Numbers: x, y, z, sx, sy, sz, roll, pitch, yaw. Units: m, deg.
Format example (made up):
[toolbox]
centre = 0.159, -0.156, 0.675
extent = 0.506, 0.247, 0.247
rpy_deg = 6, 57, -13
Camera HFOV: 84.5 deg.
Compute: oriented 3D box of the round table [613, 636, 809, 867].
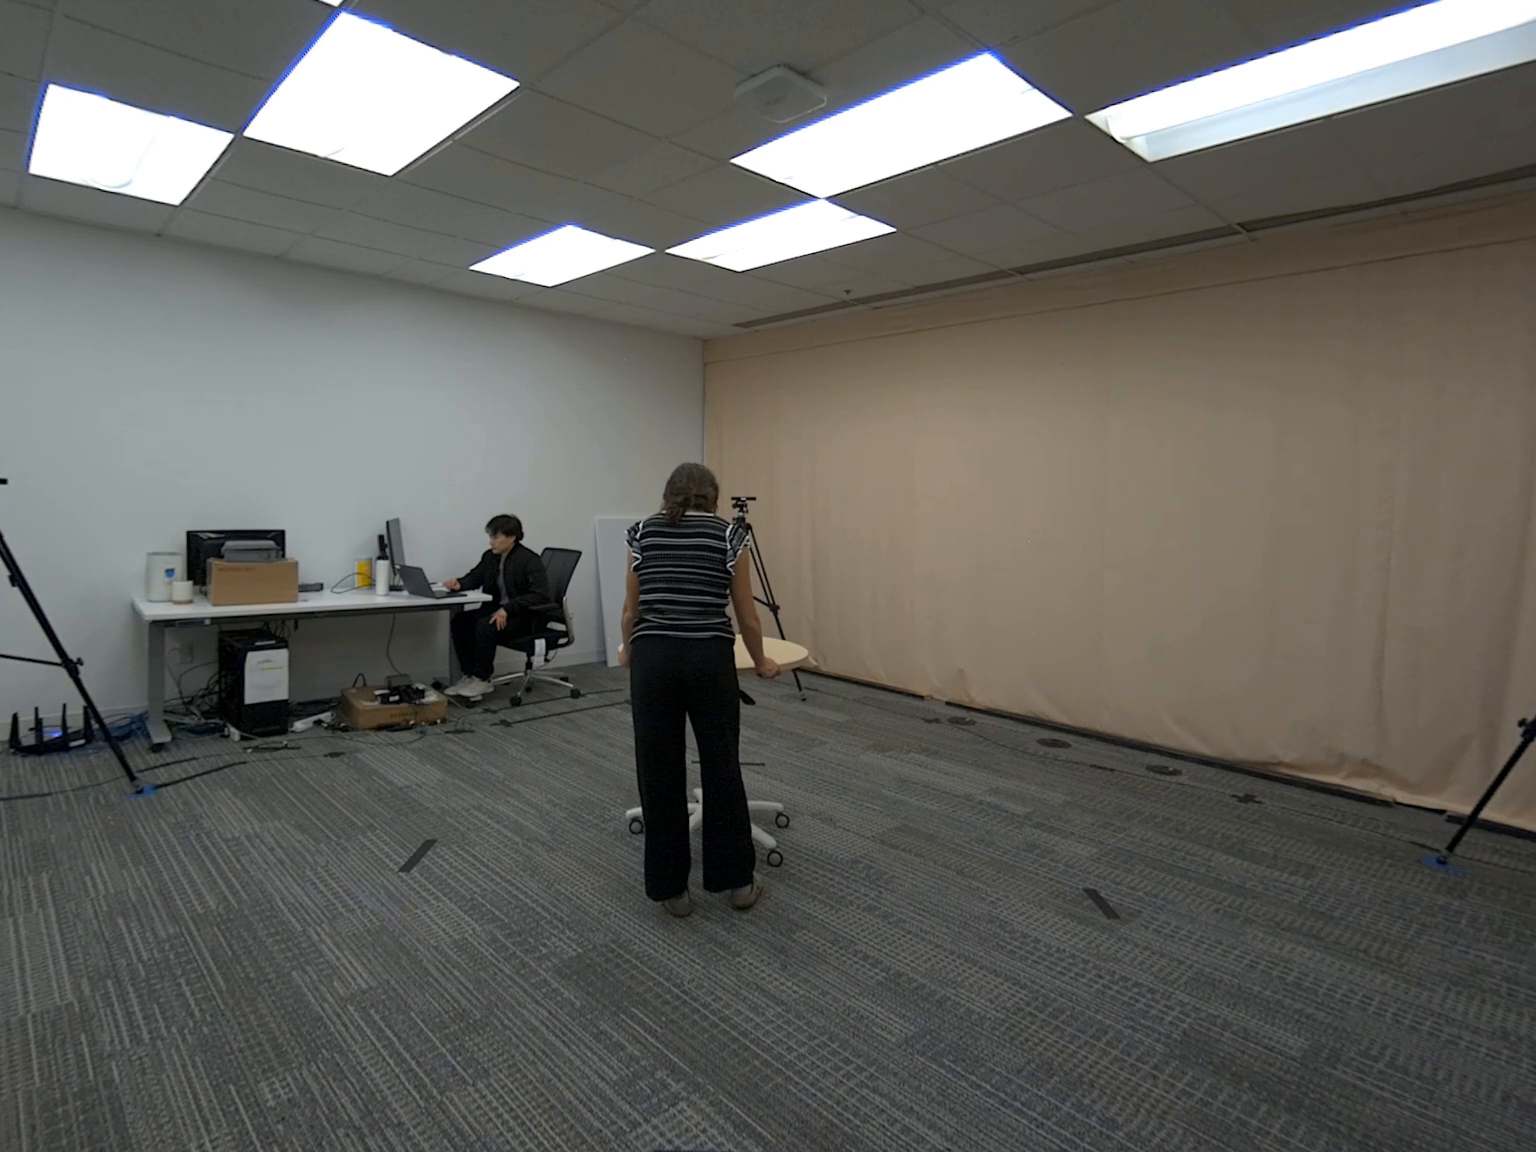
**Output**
[round table]
centre = -0.228, 0.691, 3.427
extent = 0.763, 0.792, 0.767
rpy_deg = 2, 4, -1
